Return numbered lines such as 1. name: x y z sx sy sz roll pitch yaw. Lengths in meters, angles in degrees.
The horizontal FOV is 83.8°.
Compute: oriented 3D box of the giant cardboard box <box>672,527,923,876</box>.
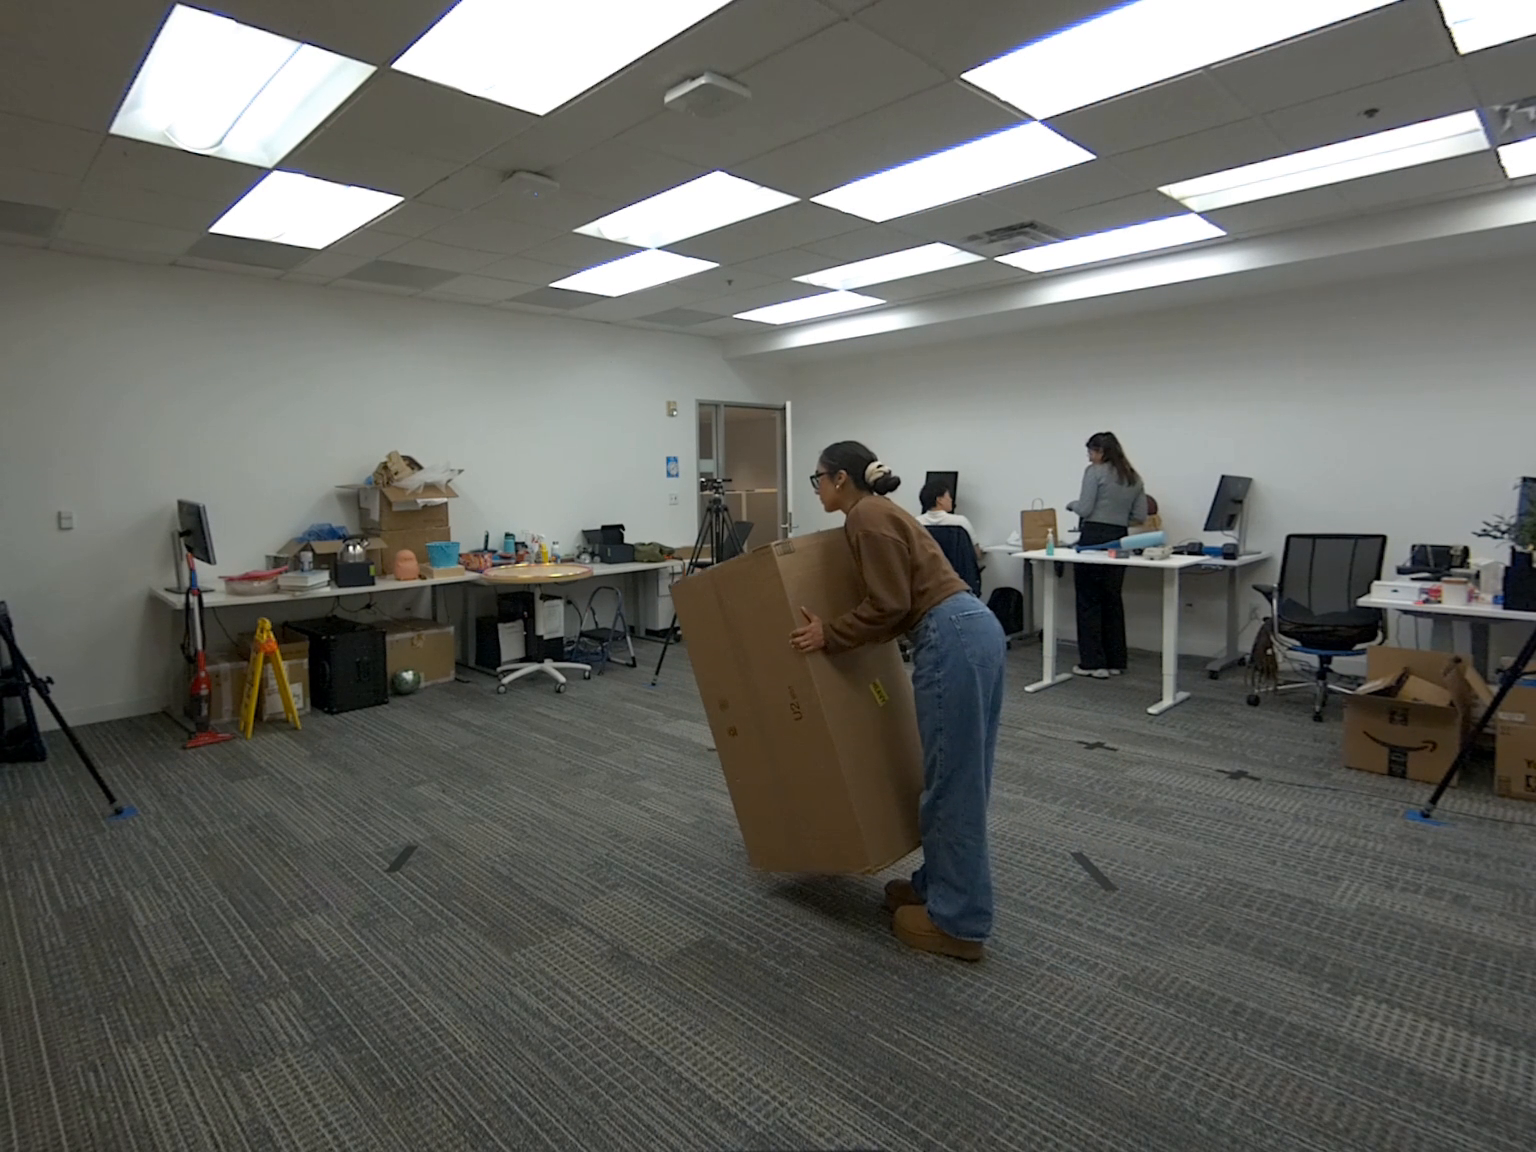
1. giant cardboard box: 0.125 0.415 2.901 0.416 1.034 0.586 -11 -9 -42
